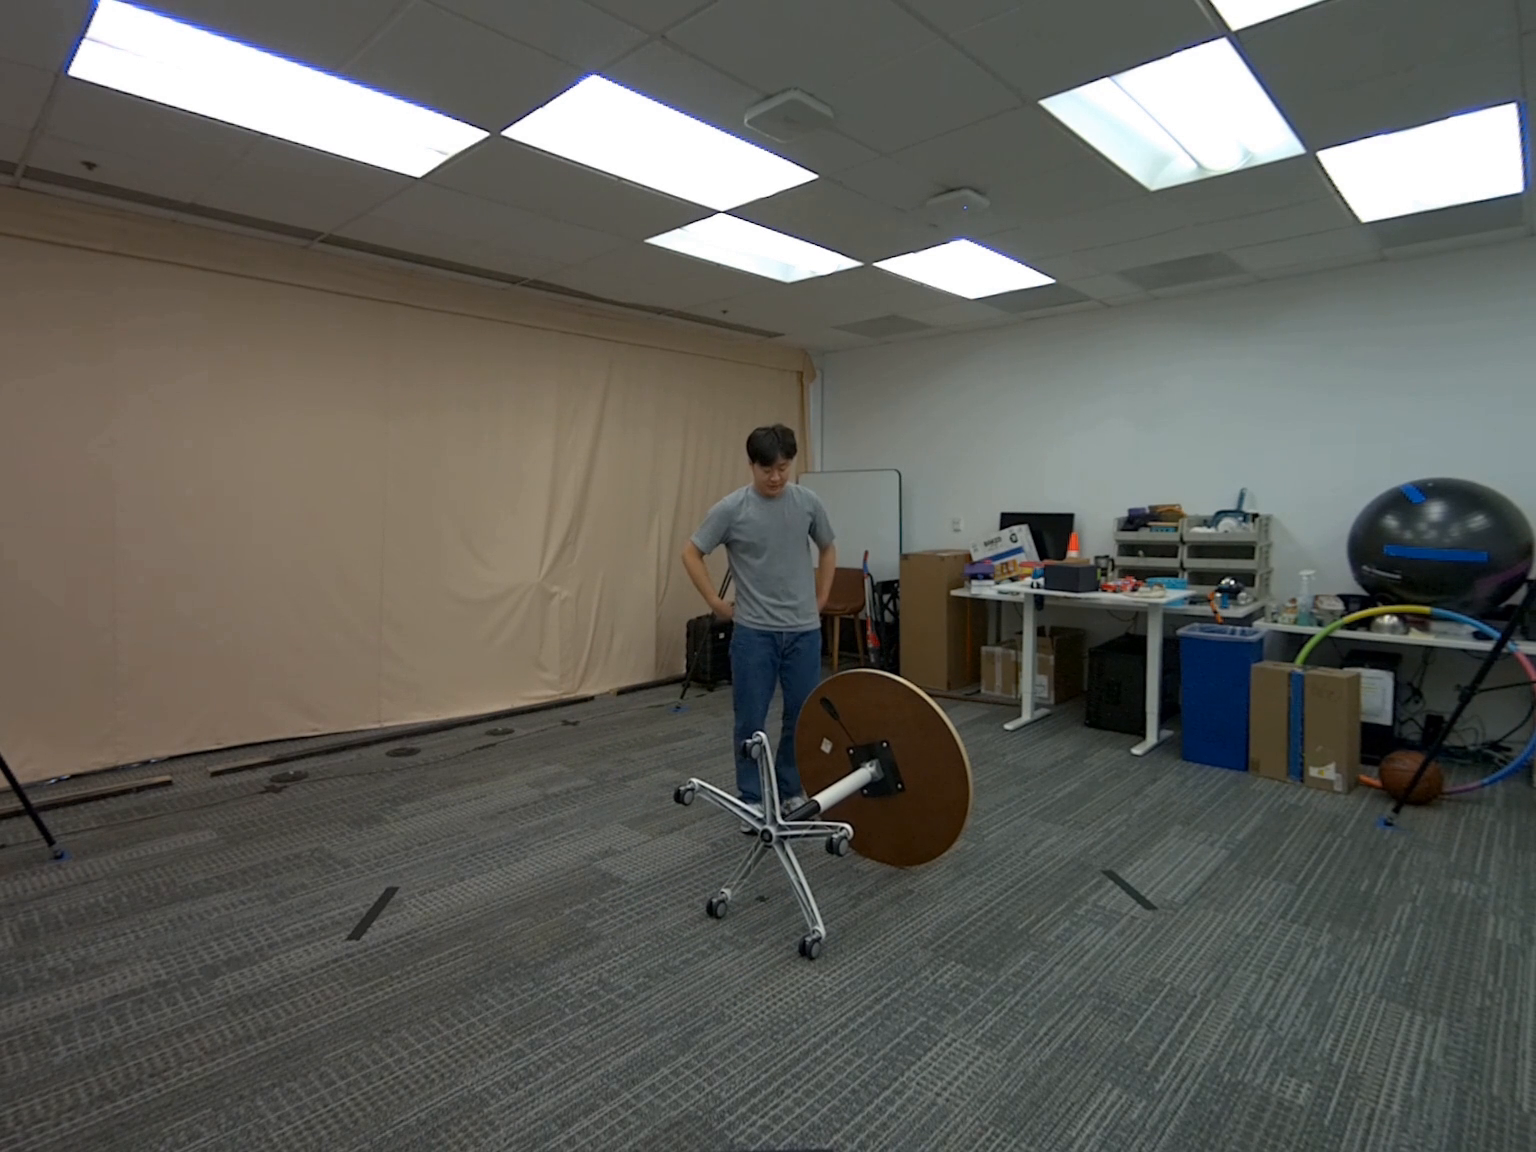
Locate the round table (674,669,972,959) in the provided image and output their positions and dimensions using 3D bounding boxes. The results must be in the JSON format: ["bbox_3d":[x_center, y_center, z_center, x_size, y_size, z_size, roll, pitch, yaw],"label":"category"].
[{"bbox_3d":[0.198,0.804,2.961,0.789,0.759,0.773,3,11,40],"label":"round table"}]
